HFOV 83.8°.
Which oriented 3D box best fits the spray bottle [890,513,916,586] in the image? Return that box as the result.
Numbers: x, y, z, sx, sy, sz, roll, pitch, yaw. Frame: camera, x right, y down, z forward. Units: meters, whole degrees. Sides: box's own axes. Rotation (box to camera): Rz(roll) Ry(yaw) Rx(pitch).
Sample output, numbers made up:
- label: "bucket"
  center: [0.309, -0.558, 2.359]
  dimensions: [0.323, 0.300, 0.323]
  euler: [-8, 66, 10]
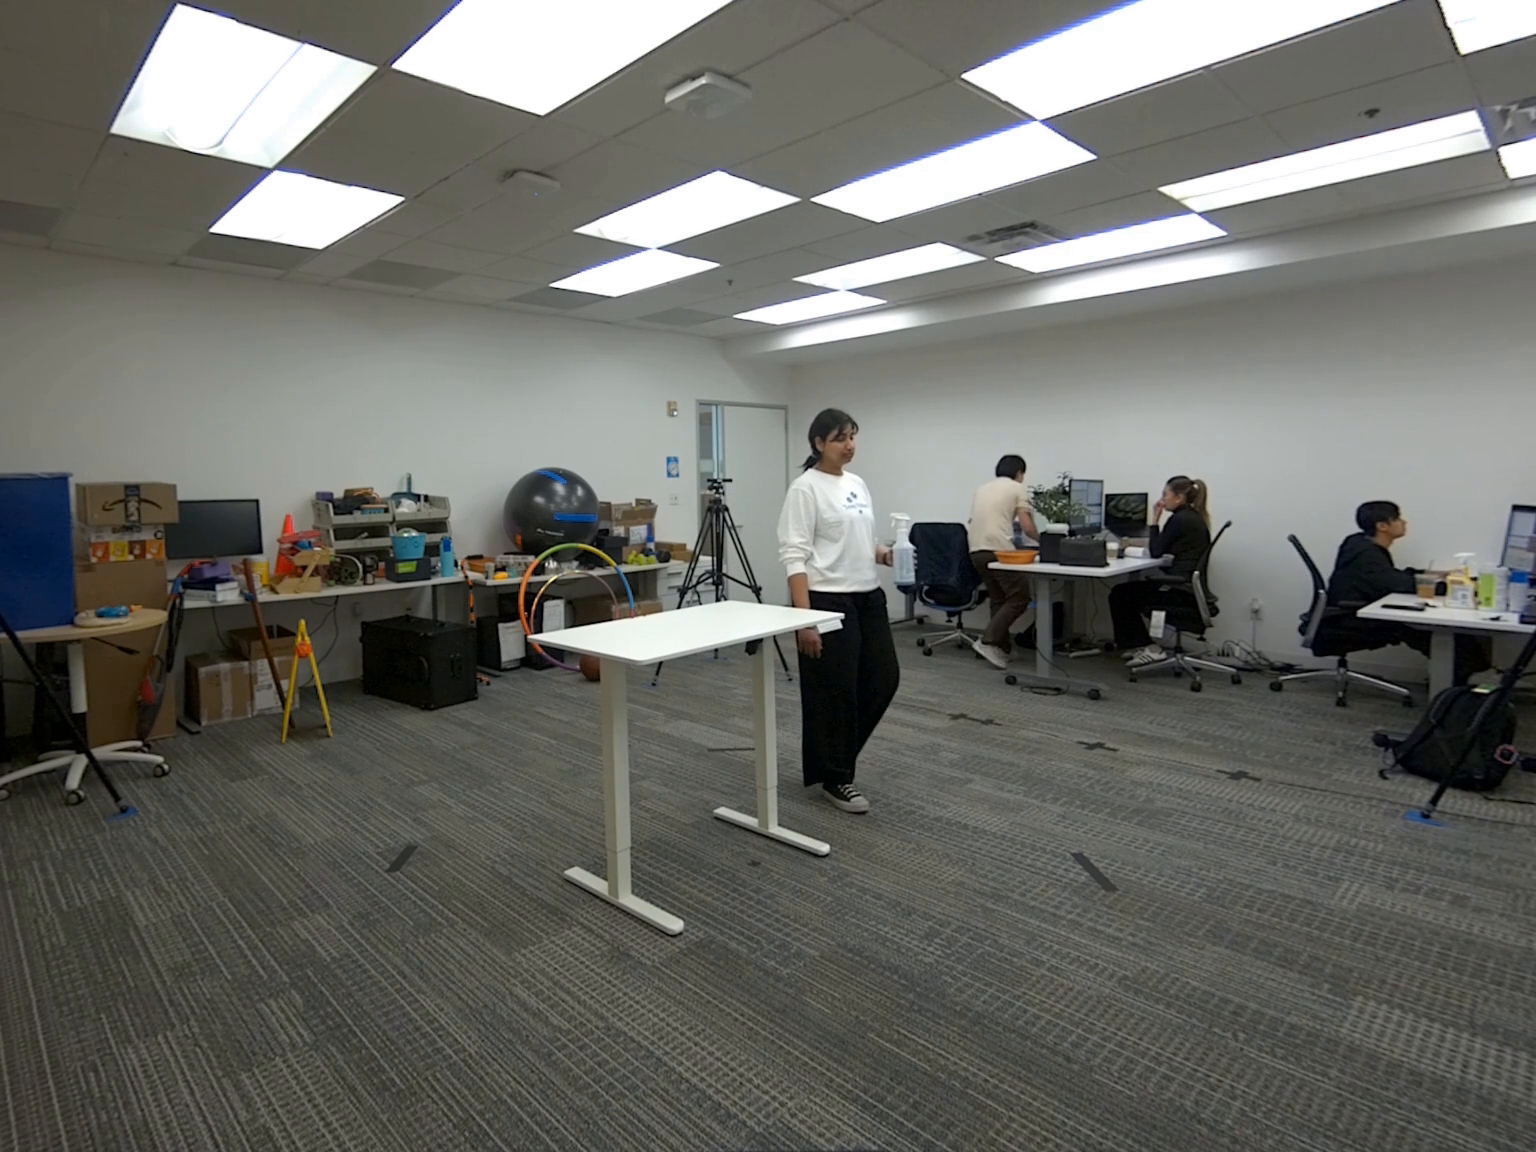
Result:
- label: "spray bottle"
  center: [0.546, -0.109, 3.541]
  dimensions: [0.090, 0.296, 0.087]
  euler: [-4, 3, 3]
